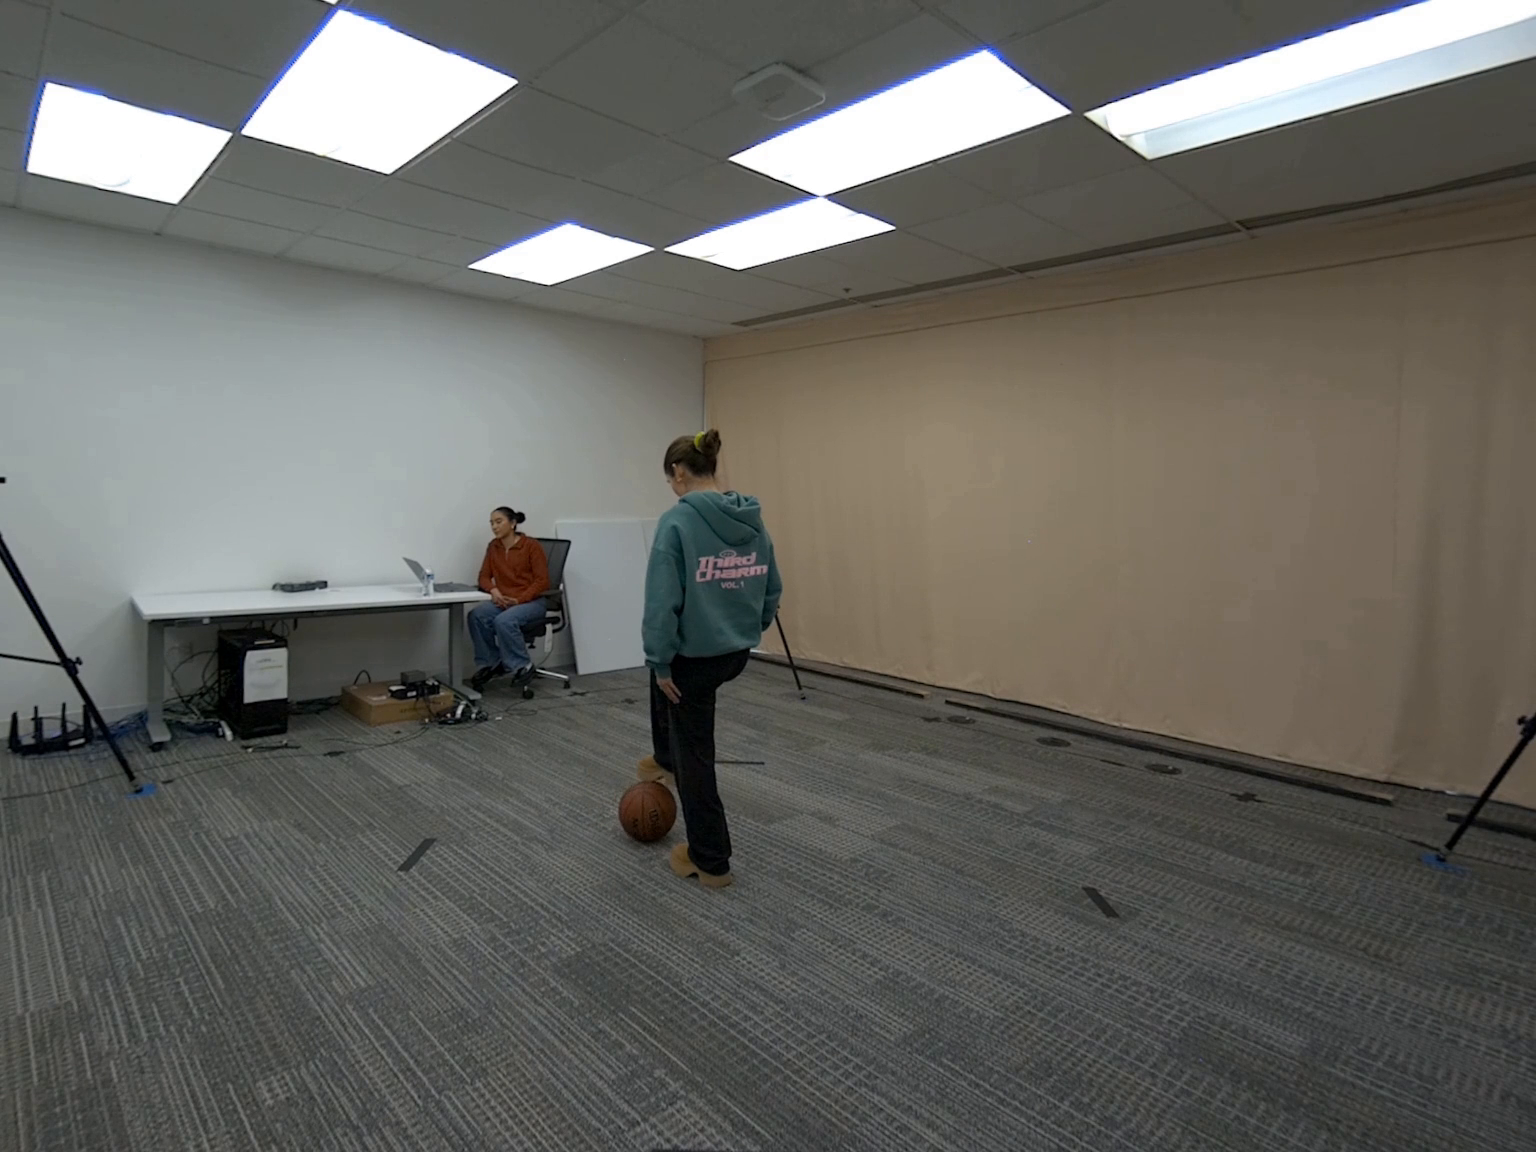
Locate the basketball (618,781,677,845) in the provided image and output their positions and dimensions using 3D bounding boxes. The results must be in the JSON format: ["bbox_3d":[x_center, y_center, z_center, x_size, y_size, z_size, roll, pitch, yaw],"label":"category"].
[{"bbox_3d":[-0.498,0.950,3.397,0.236,0.235,0.237,1,4,-1],"label":"basketball"}]
